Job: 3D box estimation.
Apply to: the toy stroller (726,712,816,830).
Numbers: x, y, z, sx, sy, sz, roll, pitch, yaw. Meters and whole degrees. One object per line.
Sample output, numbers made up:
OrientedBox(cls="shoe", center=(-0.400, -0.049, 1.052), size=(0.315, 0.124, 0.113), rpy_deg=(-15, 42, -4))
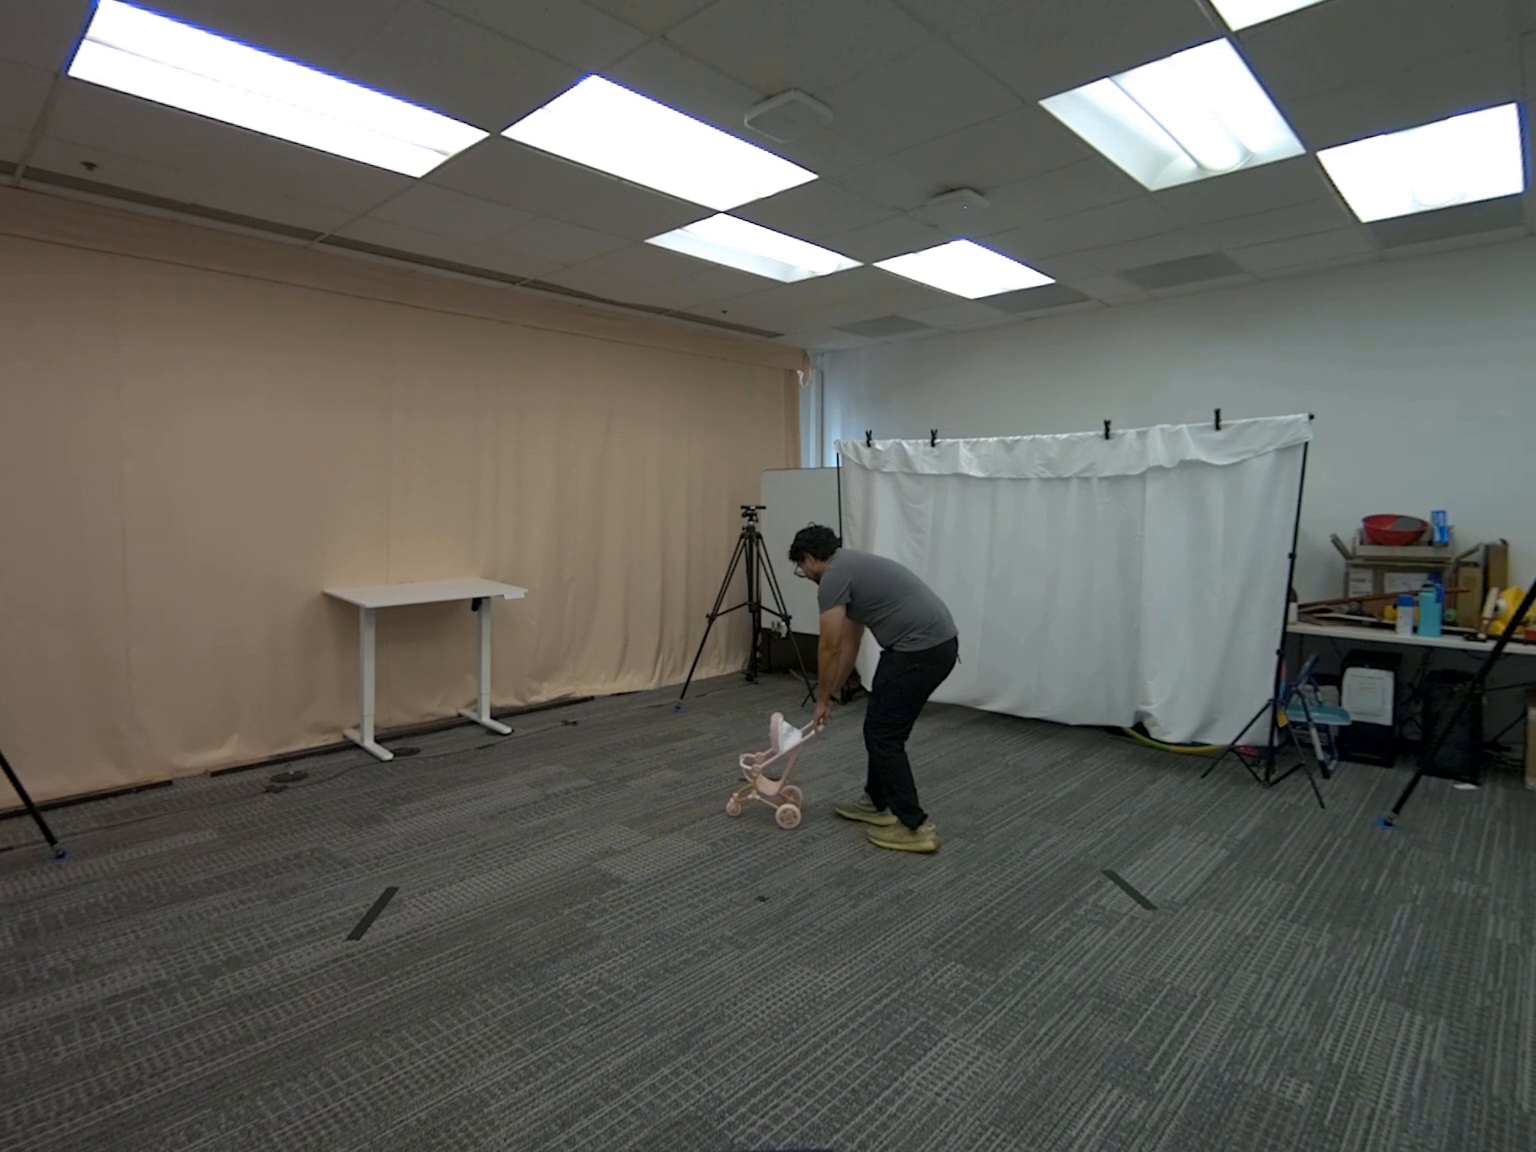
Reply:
OrientedBox(cls="toy stroller", center=(0.028, 0.858, 3.759), size=(0.346, 0.534, 0.278), rpy_deg=(14, 5, 10))
